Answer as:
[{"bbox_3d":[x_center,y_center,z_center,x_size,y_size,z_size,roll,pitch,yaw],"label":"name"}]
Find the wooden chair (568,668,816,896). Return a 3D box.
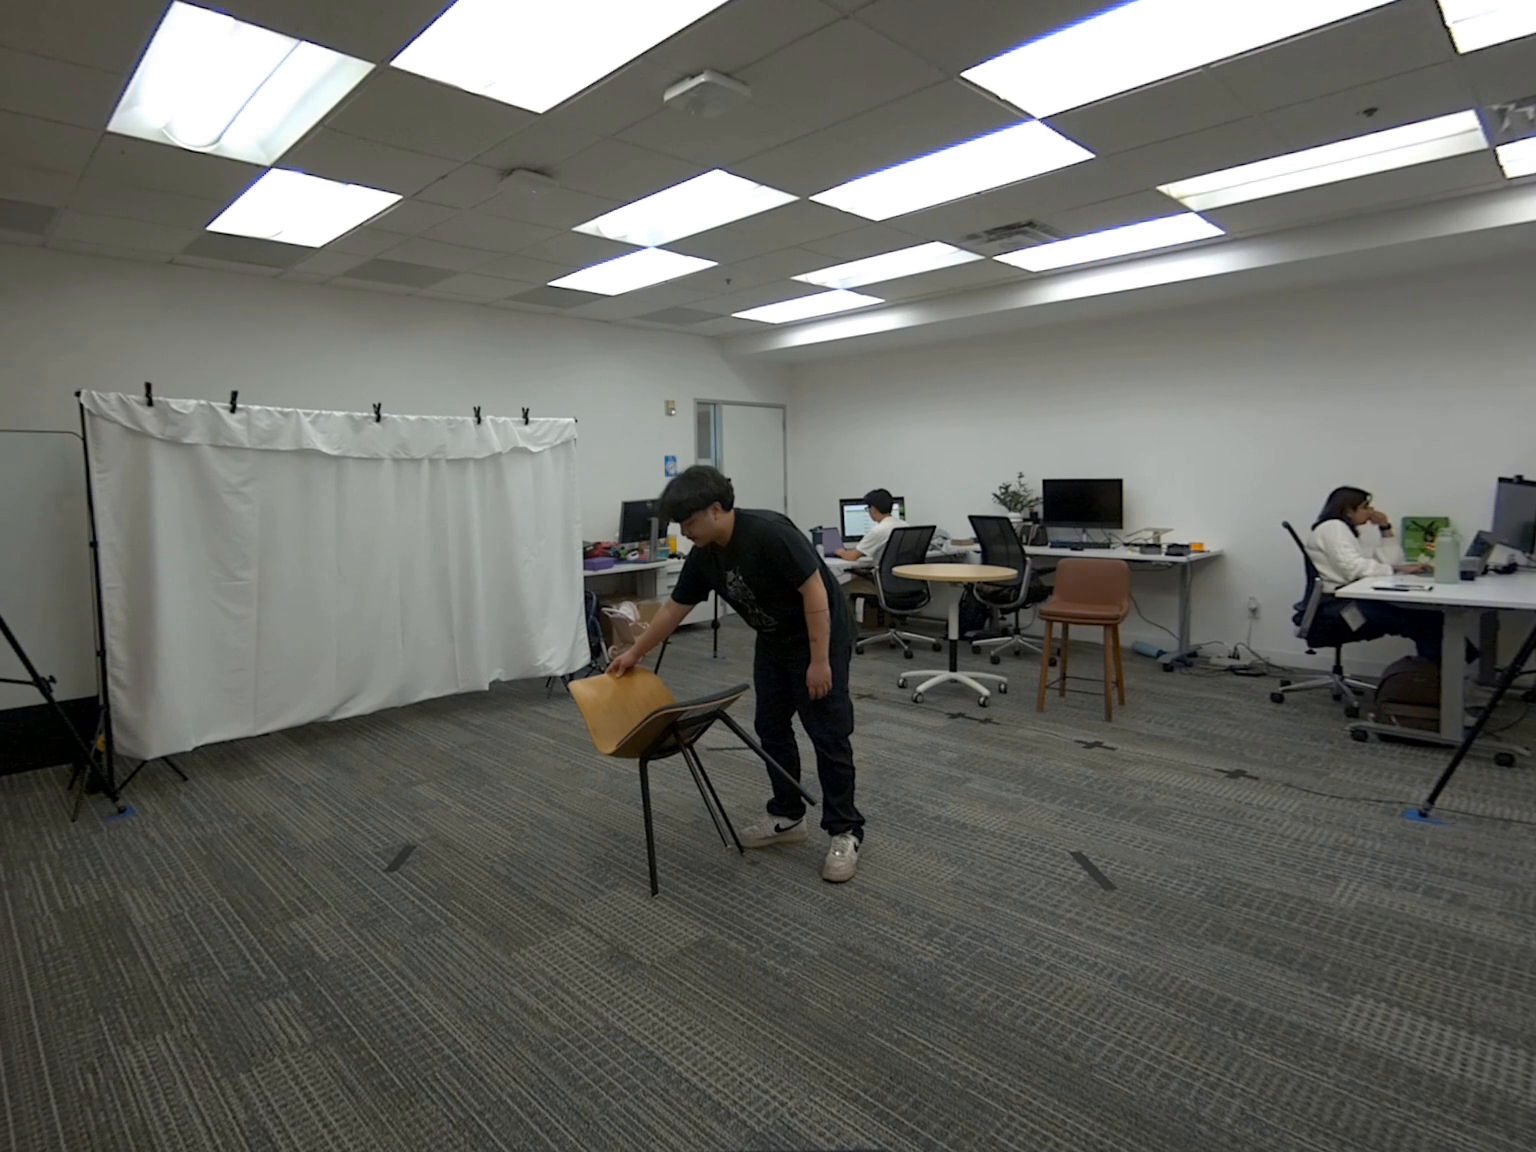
[{"bbox_3d":[-0.303,0.577,3.038,0.465,0.904,0.521,-5,-37,-46],"label":"wooden chair"}]
